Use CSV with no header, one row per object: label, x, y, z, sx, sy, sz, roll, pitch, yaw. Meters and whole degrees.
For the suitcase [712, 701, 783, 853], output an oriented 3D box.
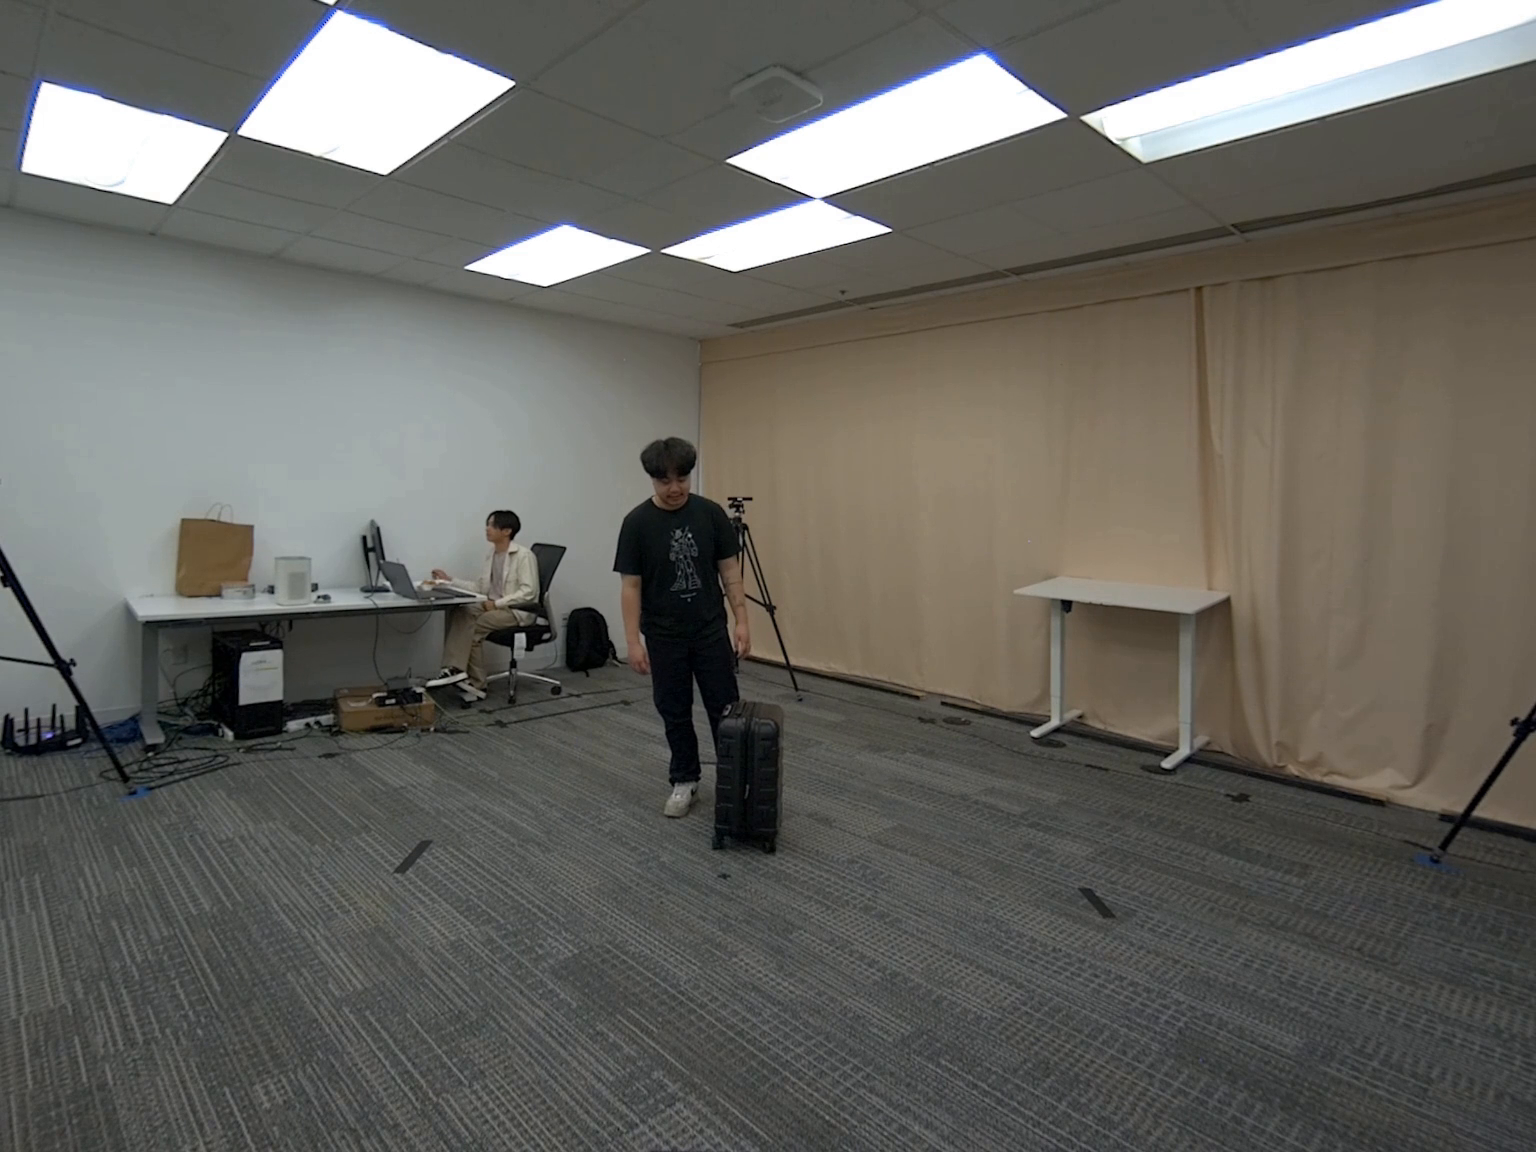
suitcase,-0.078,0.804,3.447,0.249,0.548,0.375,3,4,3
